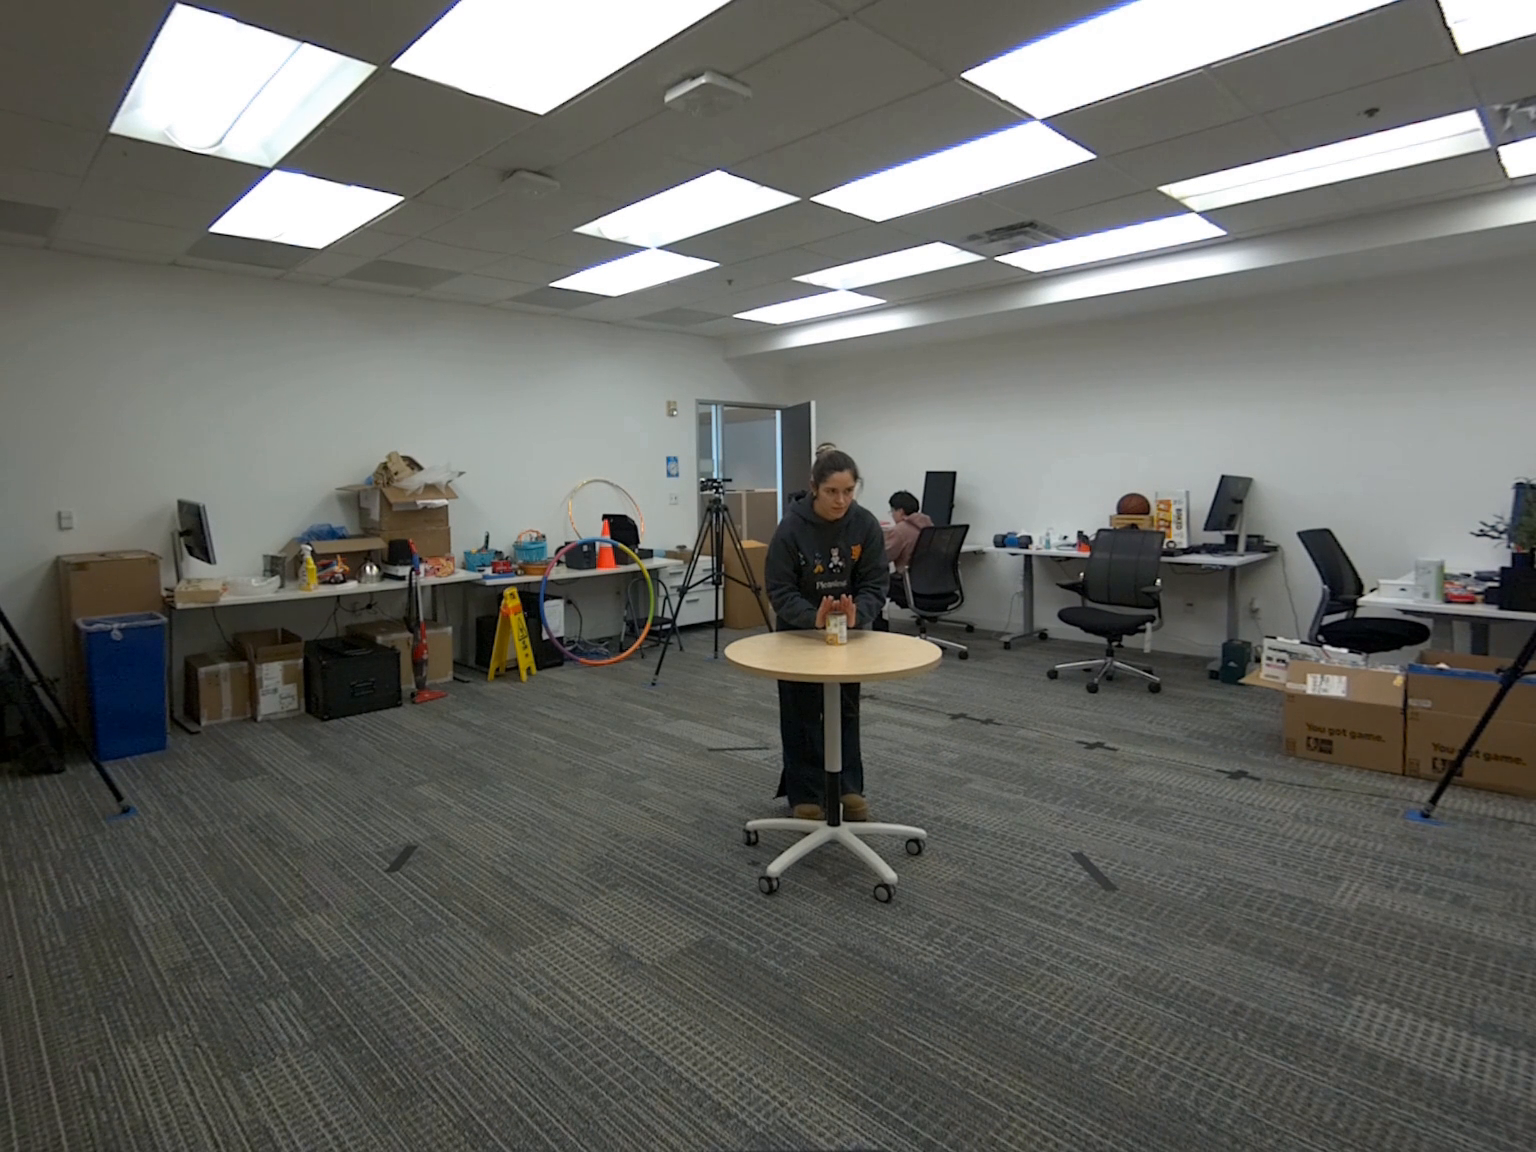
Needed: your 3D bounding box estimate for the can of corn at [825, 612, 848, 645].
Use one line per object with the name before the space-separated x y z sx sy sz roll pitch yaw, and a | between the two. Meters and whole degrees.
can of corn | 0.250 0.201 3.135 0.074 0.111 0.074 2 2 -2
